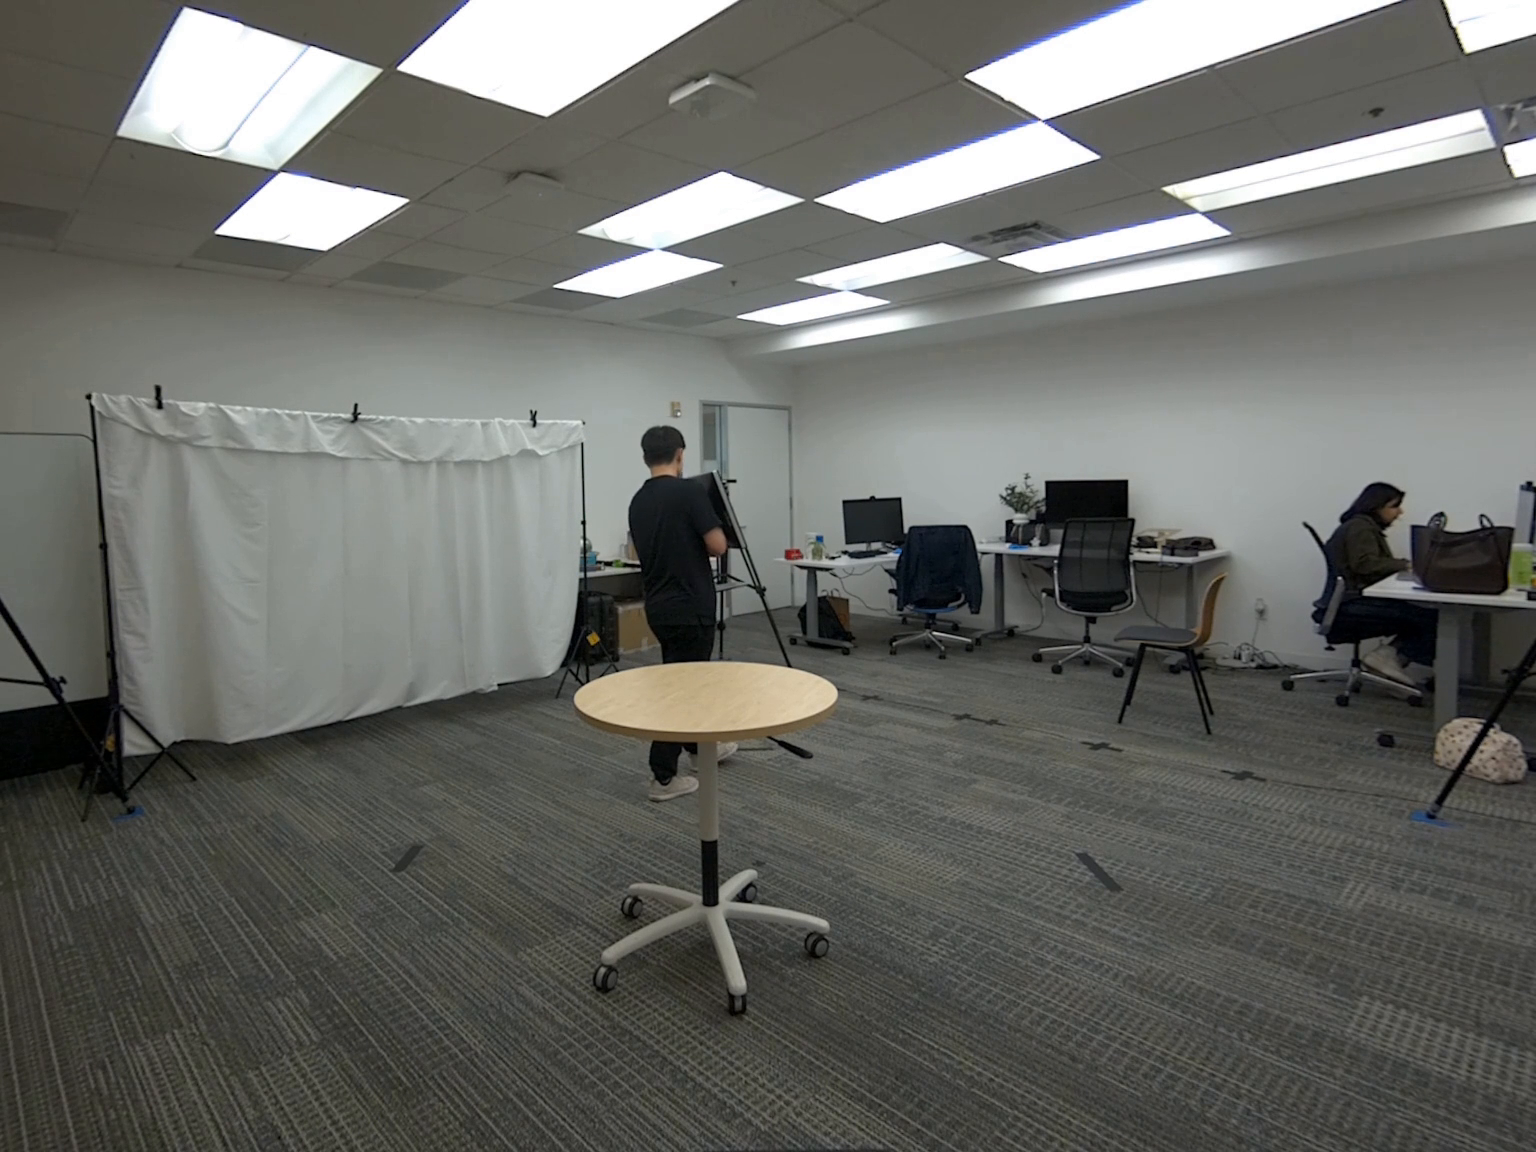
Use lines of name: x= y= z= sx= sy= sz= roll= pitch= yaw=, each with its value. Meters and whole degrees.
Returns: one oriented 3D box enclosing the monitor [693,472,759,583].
monitor: x=-0.261 y=-0.205 z=3.953 sx=0.184 sy=0.520 sz=0.549 roll=-12 pitch=5 yaw=-19
